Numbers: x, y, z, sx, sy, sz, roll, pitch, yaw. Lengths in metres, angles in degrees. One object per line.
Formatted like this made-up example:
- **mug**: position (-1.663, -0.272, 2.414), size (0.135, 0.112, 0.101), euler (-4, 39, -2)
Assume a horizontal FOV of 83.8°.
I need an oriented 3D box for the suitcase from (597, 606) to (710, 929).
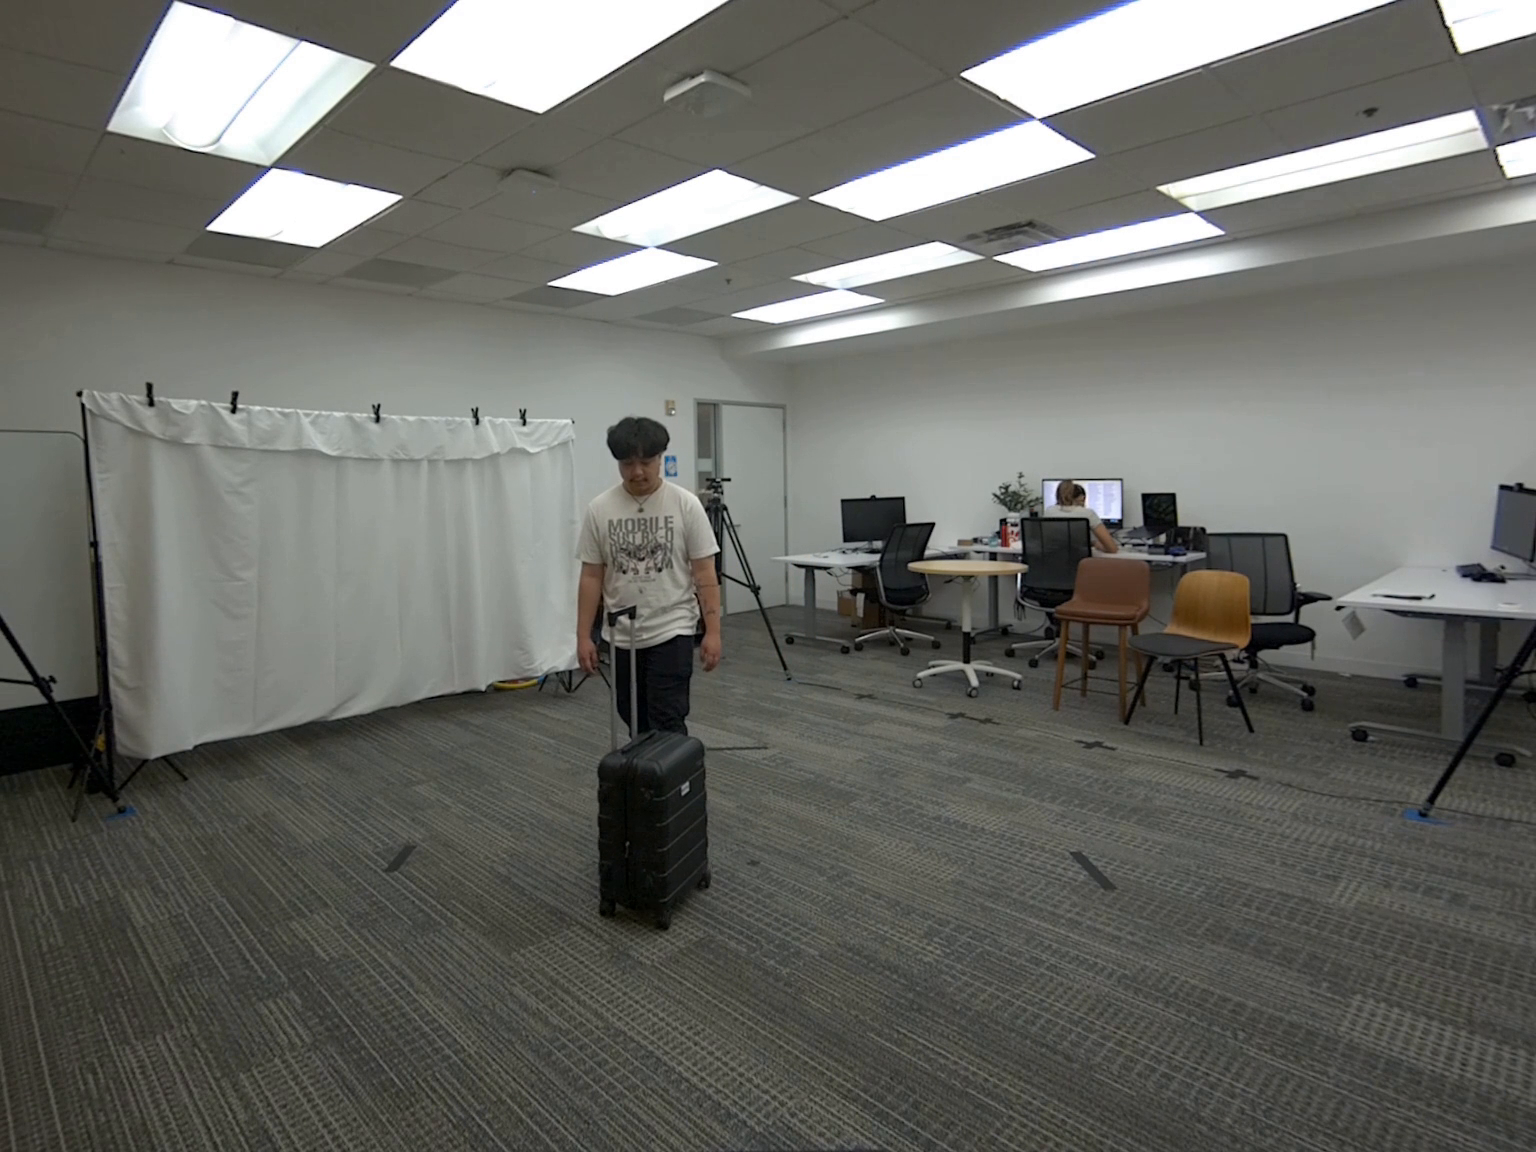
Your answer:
- **suitcase**: position (-0.359, 0.613, 2.785), size (0.262, 0.972, 0.379), euler (4, 7, 20)
